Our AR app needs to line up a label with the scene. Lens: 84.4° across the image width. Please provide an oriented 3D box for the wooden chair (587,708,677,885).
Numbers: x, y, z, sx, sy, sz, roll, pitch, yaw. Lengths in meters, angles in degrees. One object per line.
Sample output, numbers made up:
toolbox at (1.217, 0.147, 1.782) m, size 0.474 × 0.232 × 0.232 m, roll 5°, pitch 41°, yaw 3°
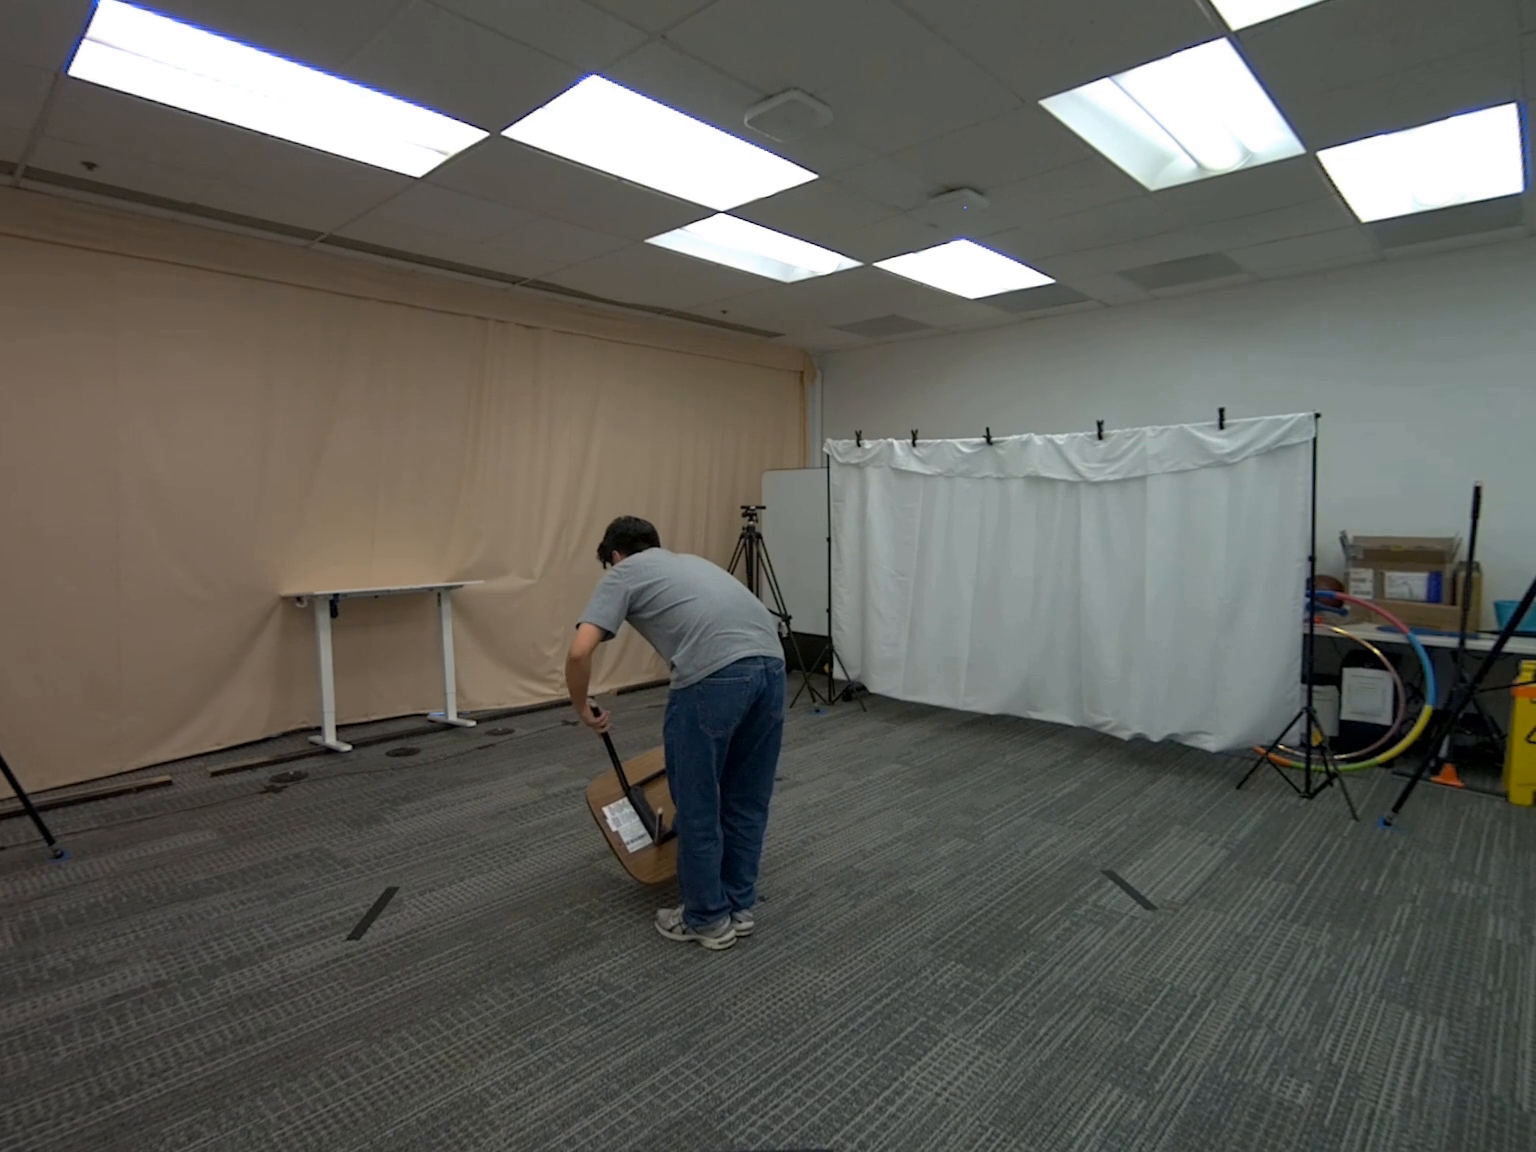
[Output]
wooden chair at (-0.365, 0.807, 3.019) m, size 0.513 × 0.865 × 0.494 m, roll -23°, pitch 54°, yaw -28°
